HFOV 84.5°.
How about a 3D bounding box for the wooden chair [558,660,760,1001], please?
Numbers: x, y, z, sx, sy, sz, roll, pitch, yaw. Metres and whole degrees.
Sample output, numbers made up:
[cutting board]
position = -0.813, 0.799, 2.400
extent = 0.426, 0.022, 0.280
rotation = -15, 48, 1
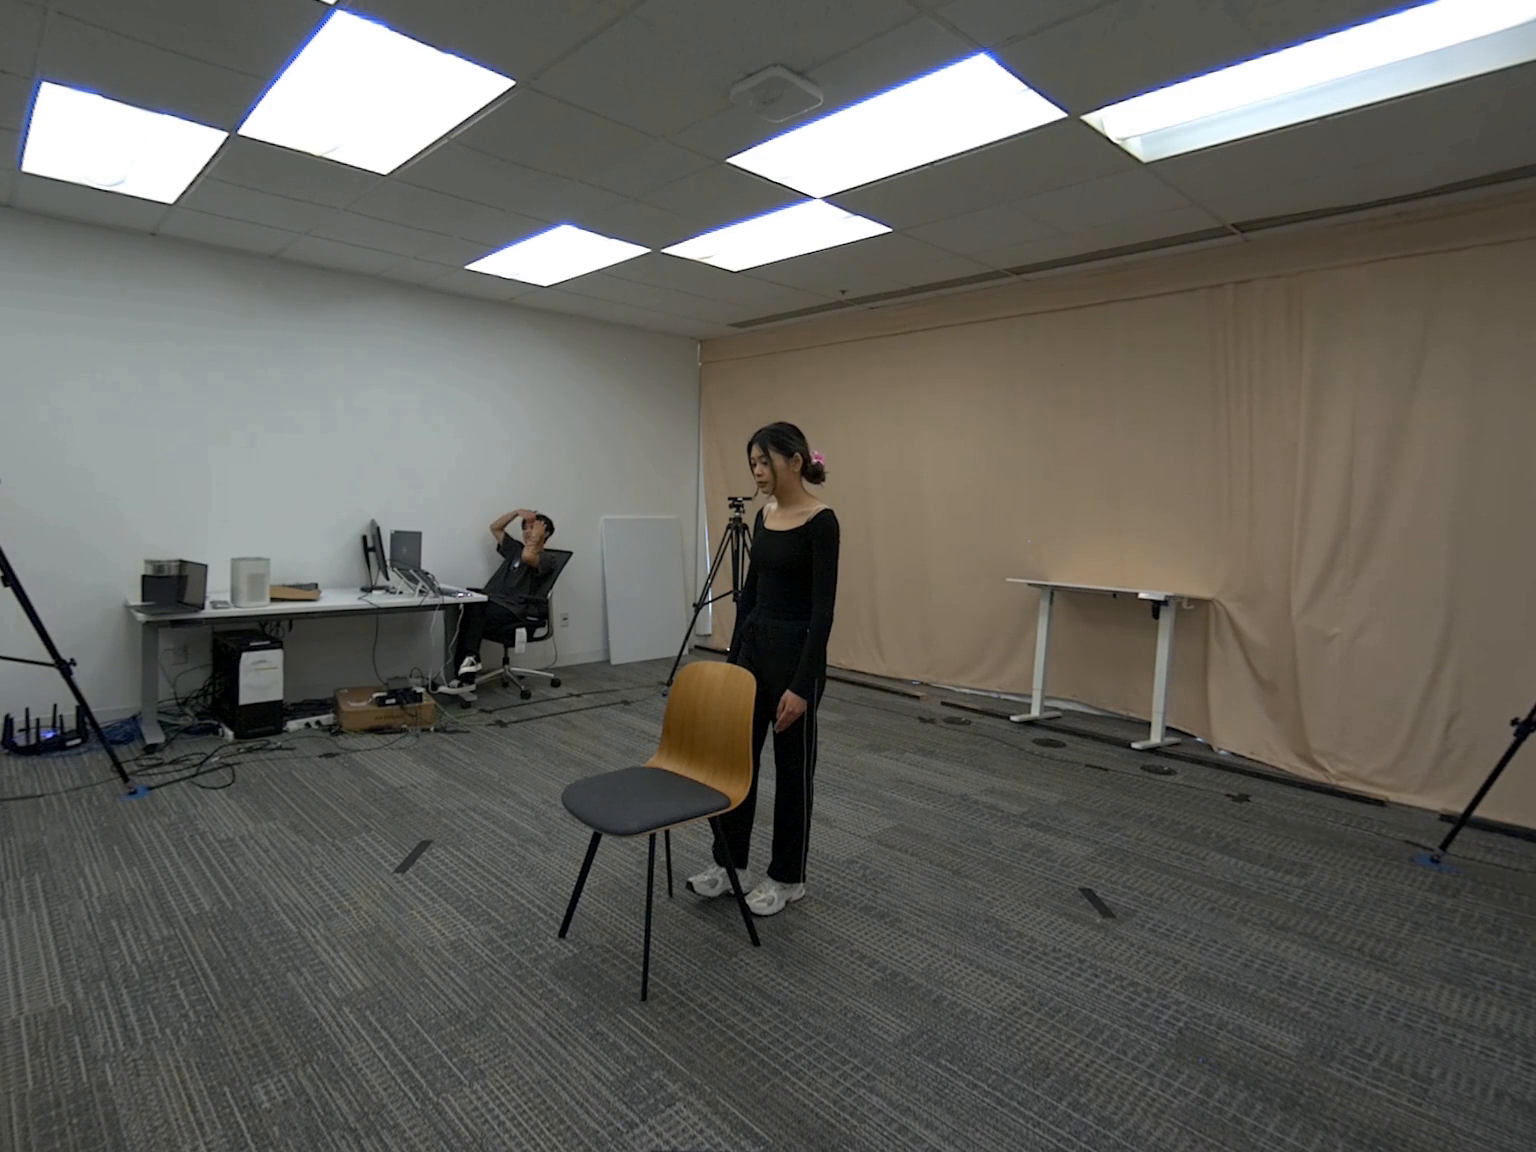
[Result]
[wooden chair]
position = -0.342, 0.723, 2.590
extent = 0.510, 0.877, 0.490
rotation = 5, 0, -44
